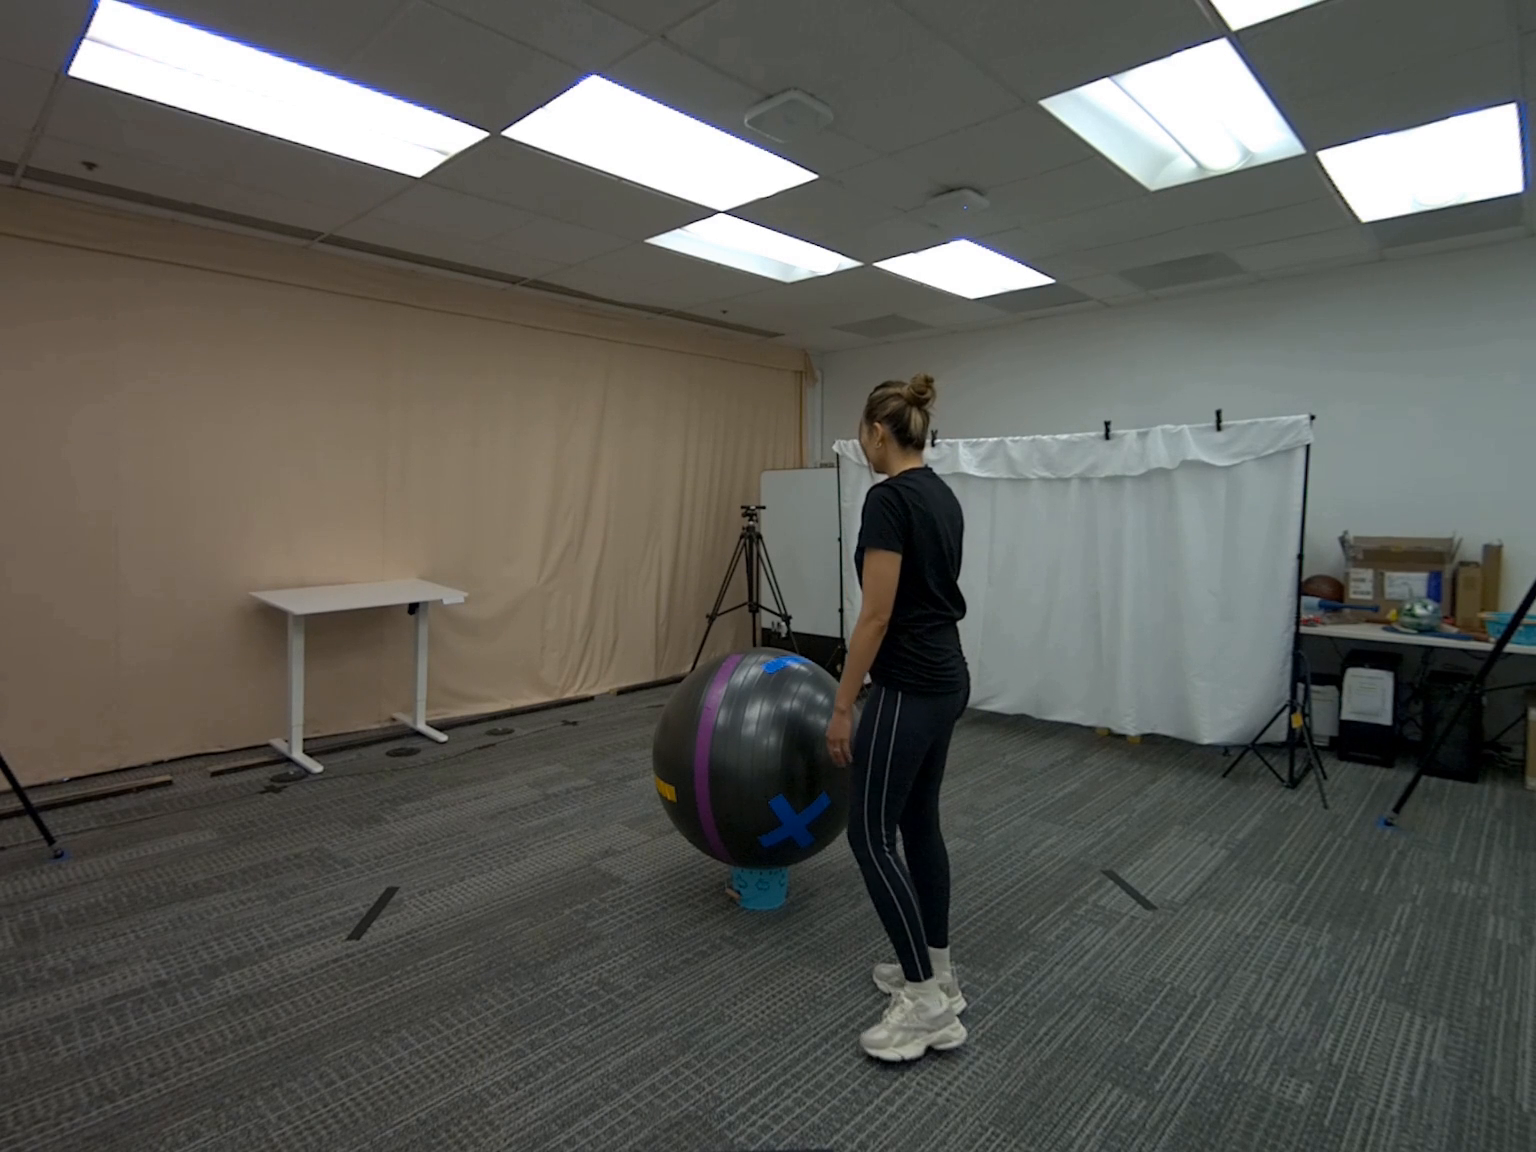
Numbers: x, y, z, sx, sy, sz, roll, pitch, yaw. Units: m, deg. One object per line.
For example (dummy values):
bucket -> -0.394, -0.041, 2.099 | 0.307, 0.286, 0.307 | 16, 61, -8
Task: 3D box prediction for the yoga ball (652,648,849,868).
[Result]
yoga ball -> -0.024, 0.631, 2.970 | 0.757, 0.756, 0.761 | 0, 4, -2
